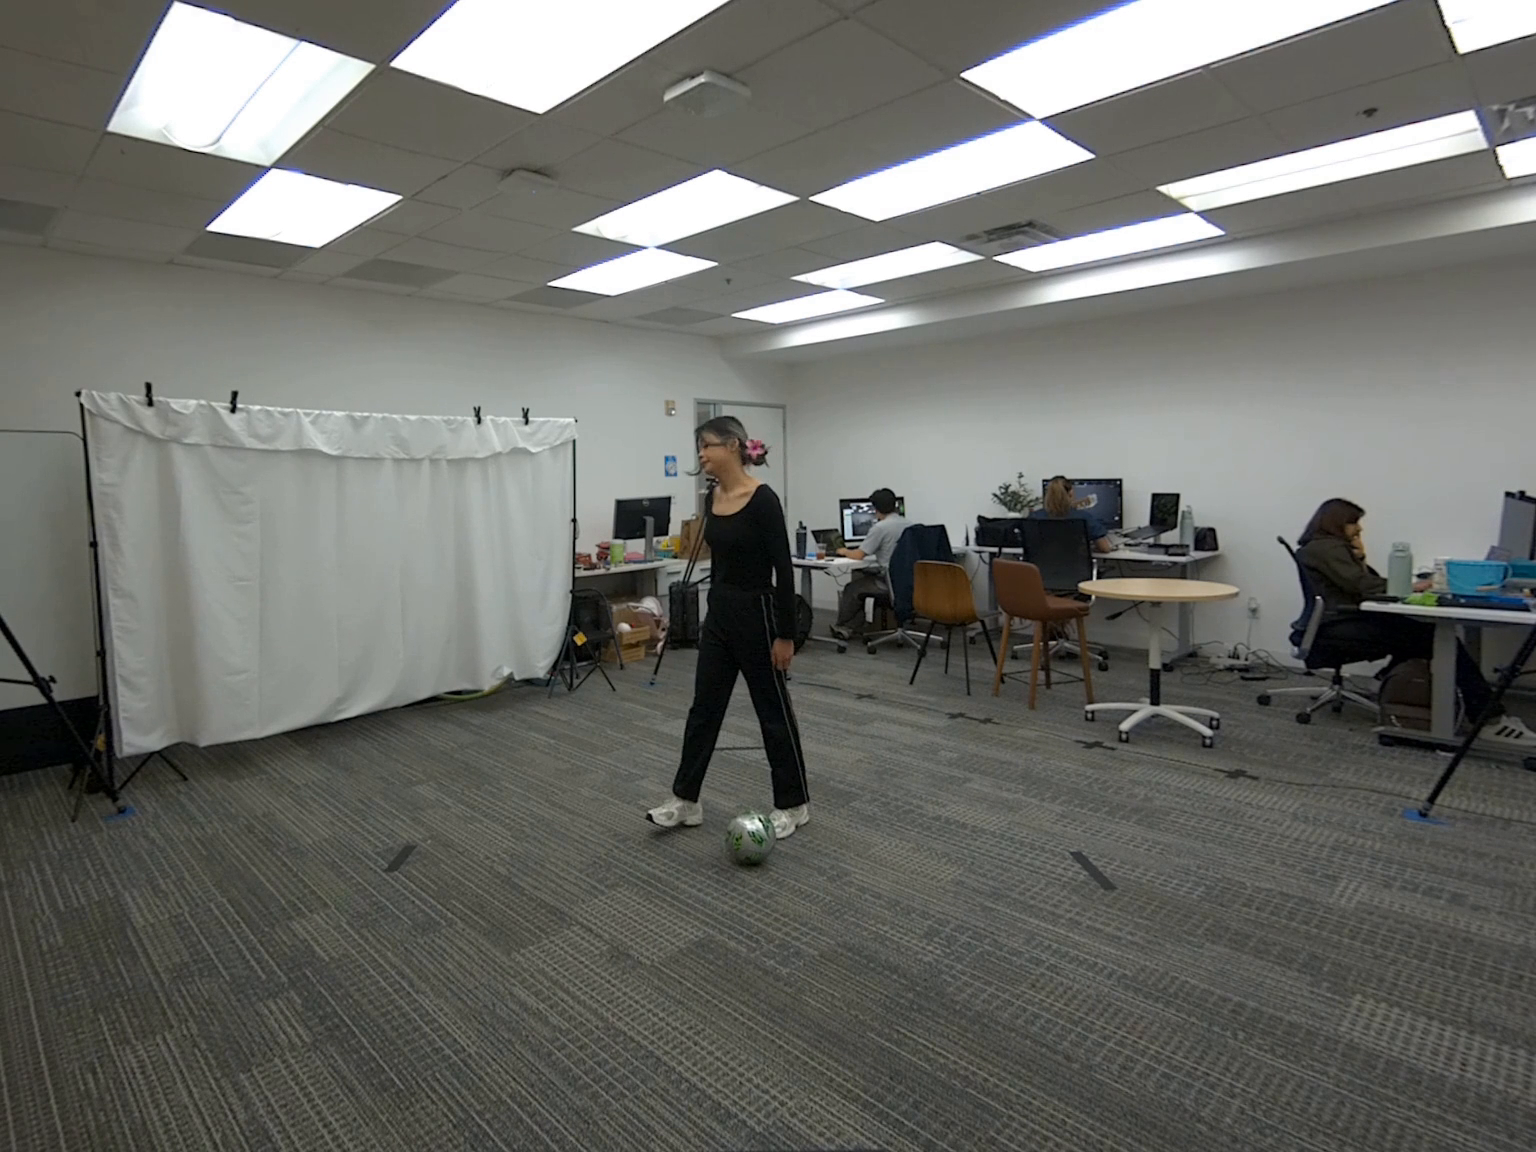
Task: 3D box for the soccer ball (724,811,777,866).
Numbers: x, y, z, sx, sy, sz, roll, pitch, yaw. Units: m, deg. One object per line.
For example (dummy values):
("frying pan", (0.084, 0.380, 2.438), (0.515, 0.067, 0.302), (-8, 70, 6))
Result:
("soccer ball", (-0.060, 0.948, 3.110), (0.187, 0.187, 0.188), (-1, 5, -2))
